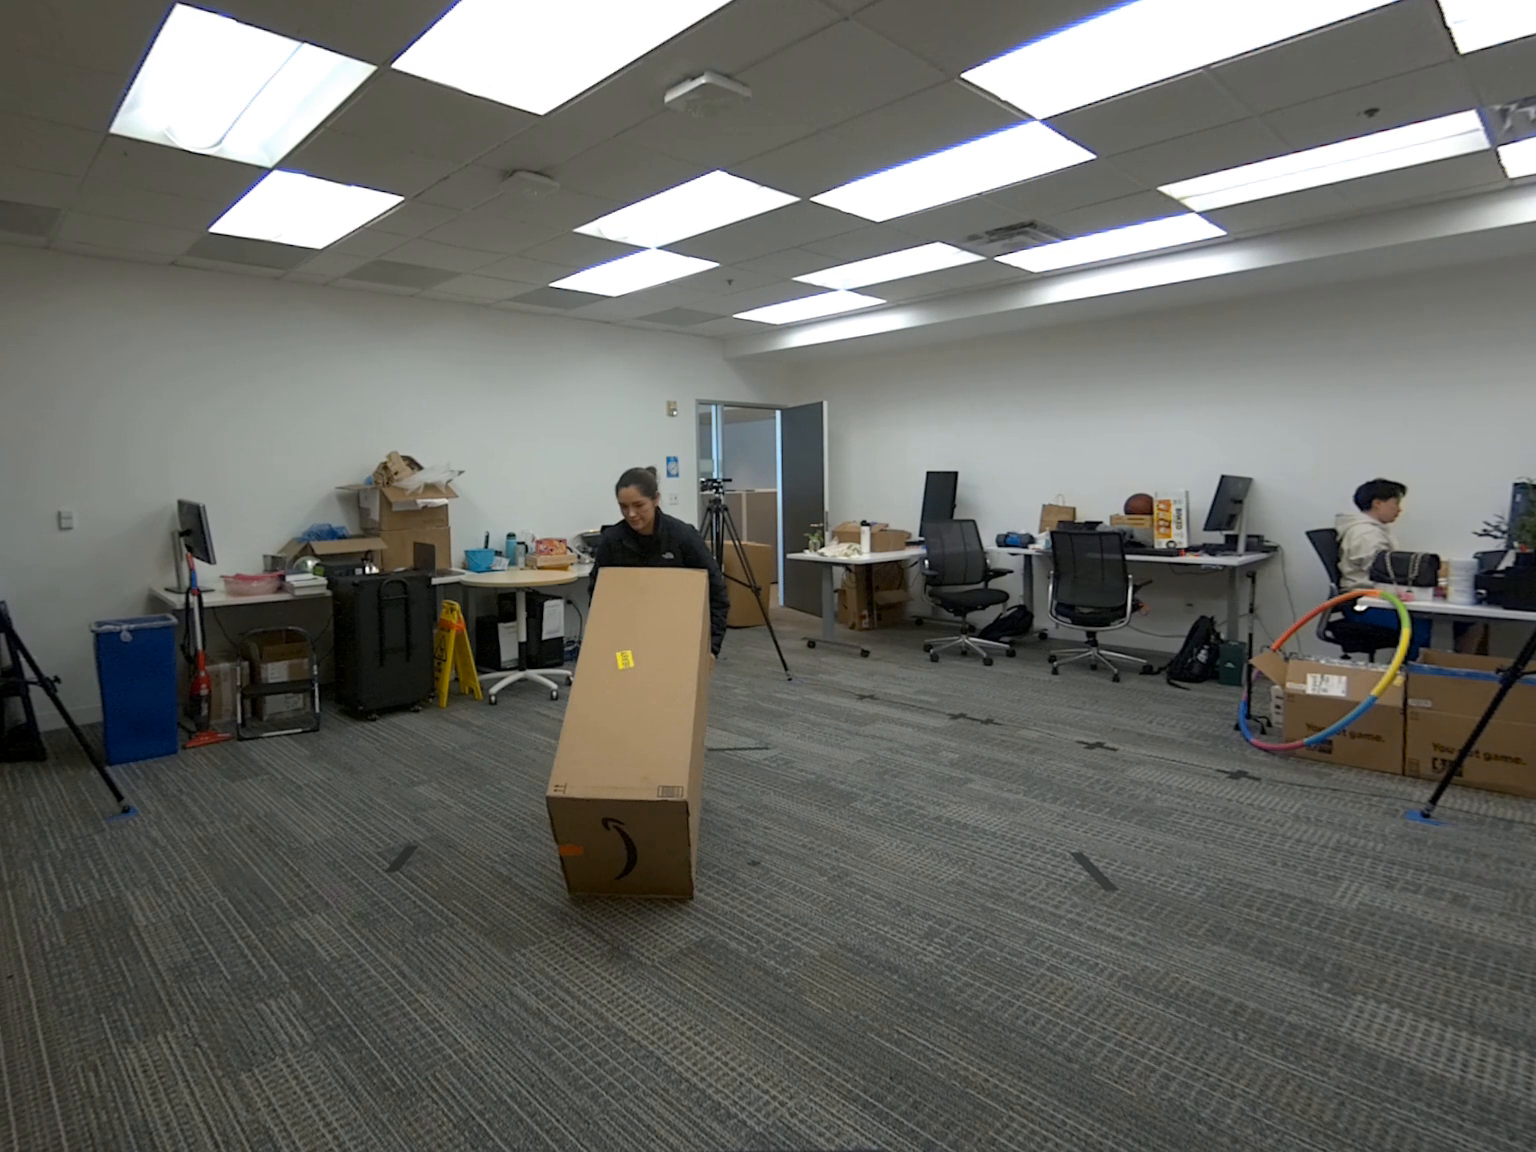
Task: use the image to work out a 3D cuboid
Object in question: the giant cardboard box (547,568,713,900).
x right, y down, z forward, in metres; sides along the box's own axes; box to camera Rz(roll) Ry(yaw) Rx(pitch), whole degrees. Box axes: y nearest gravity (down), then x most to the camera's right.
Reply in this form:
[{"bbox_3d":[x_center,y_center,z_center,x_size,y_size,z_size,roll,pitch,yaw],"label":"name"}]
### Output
[{"bbox_3d":[-0.459,0.527,3.093,0.447,0.568,1.054,-1,41,0],"label":"giant cardboard box"}]
